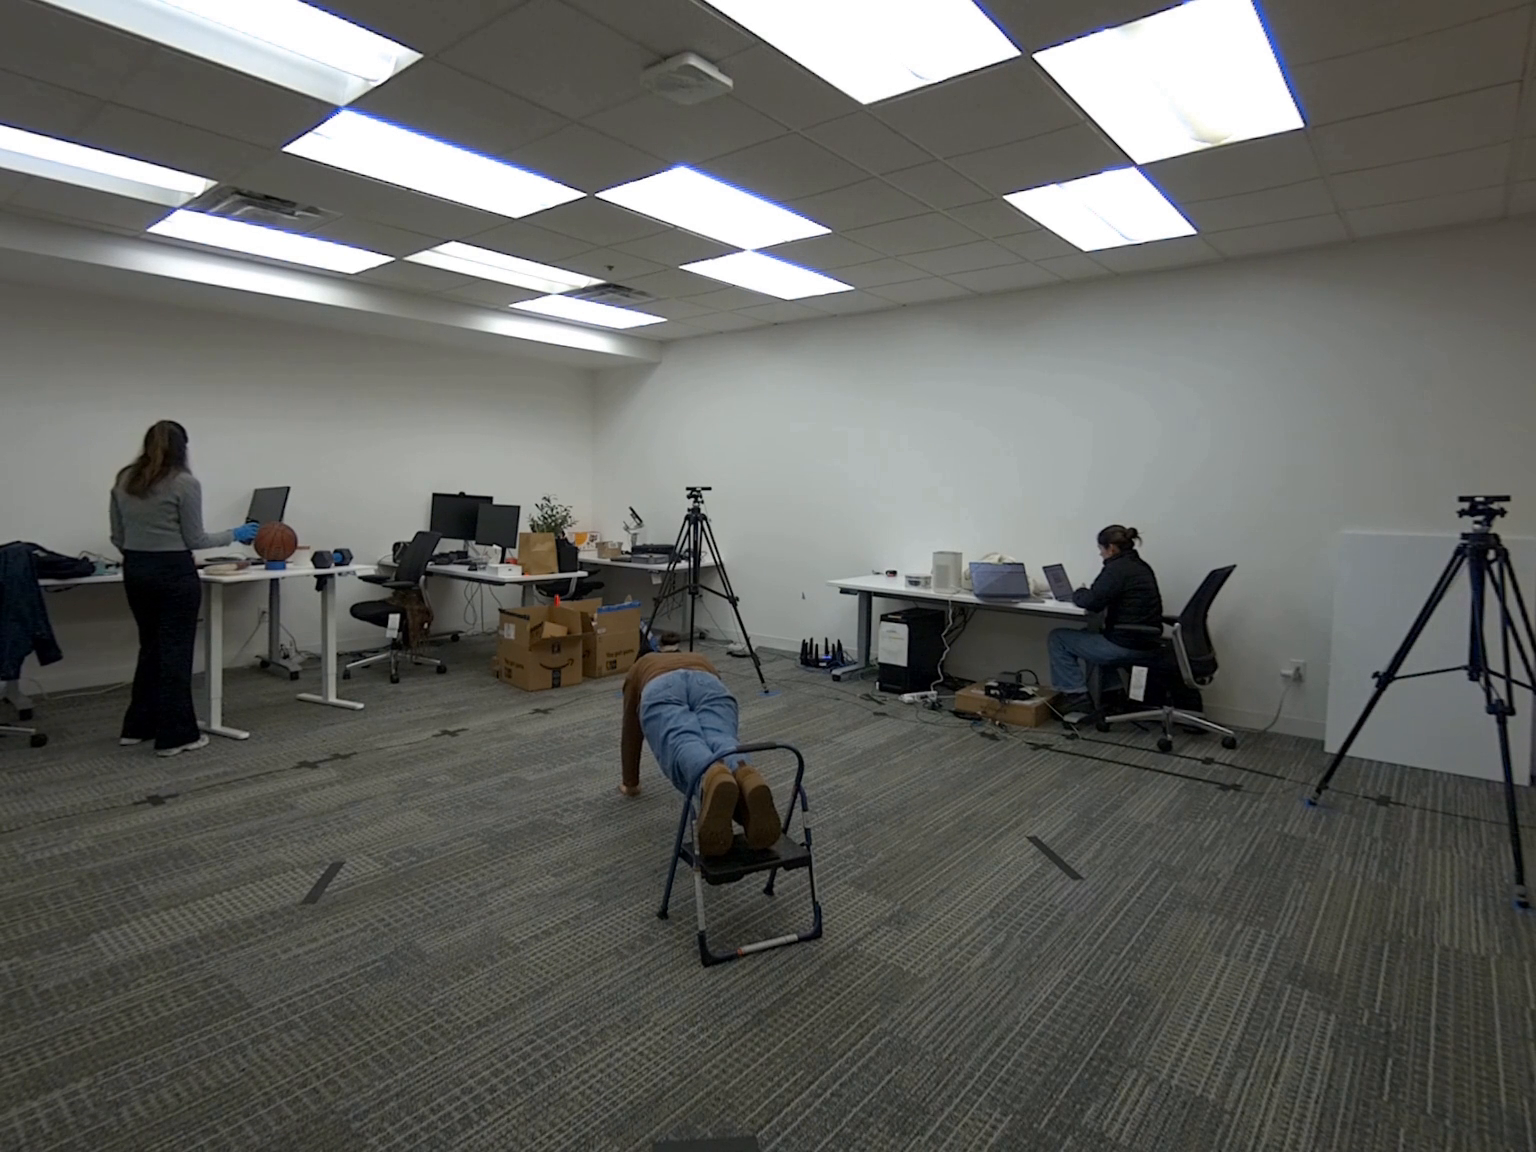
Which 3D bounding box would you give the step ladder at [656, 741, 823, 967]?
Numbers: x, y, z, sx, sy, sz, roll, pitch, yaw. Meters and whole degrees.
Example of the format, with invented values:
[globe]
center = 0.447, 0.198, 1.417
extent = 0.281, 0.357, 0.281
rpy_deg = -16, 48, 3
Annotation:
[step ladder]
center = -0.093, 0.811, 2.685
extent = 0.419, 0.604, 0.360
rpy_deg = -1, 4, -29
